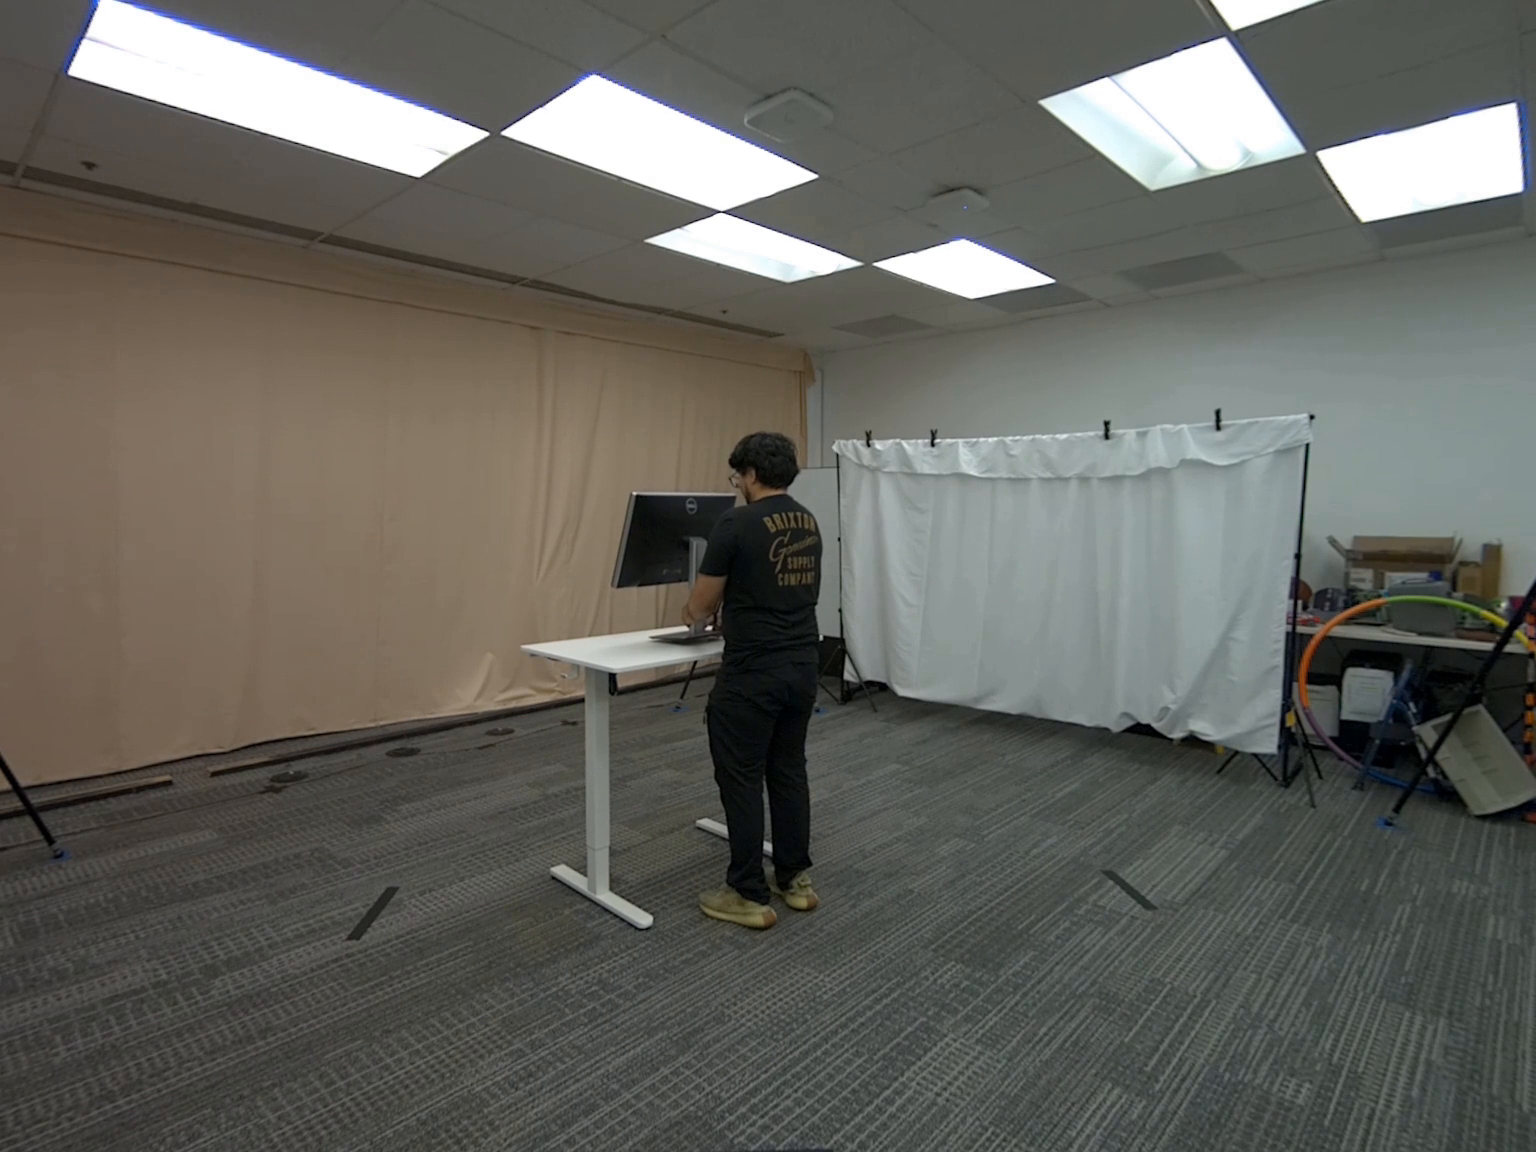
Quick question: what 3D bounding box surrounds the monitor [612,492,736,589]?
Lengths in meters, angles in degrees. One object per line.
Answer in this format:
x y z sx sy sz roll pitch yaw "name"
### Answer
-0.296 -0.039 3.180 0.217 0.551 0.548 13 11 37 "monitor"
